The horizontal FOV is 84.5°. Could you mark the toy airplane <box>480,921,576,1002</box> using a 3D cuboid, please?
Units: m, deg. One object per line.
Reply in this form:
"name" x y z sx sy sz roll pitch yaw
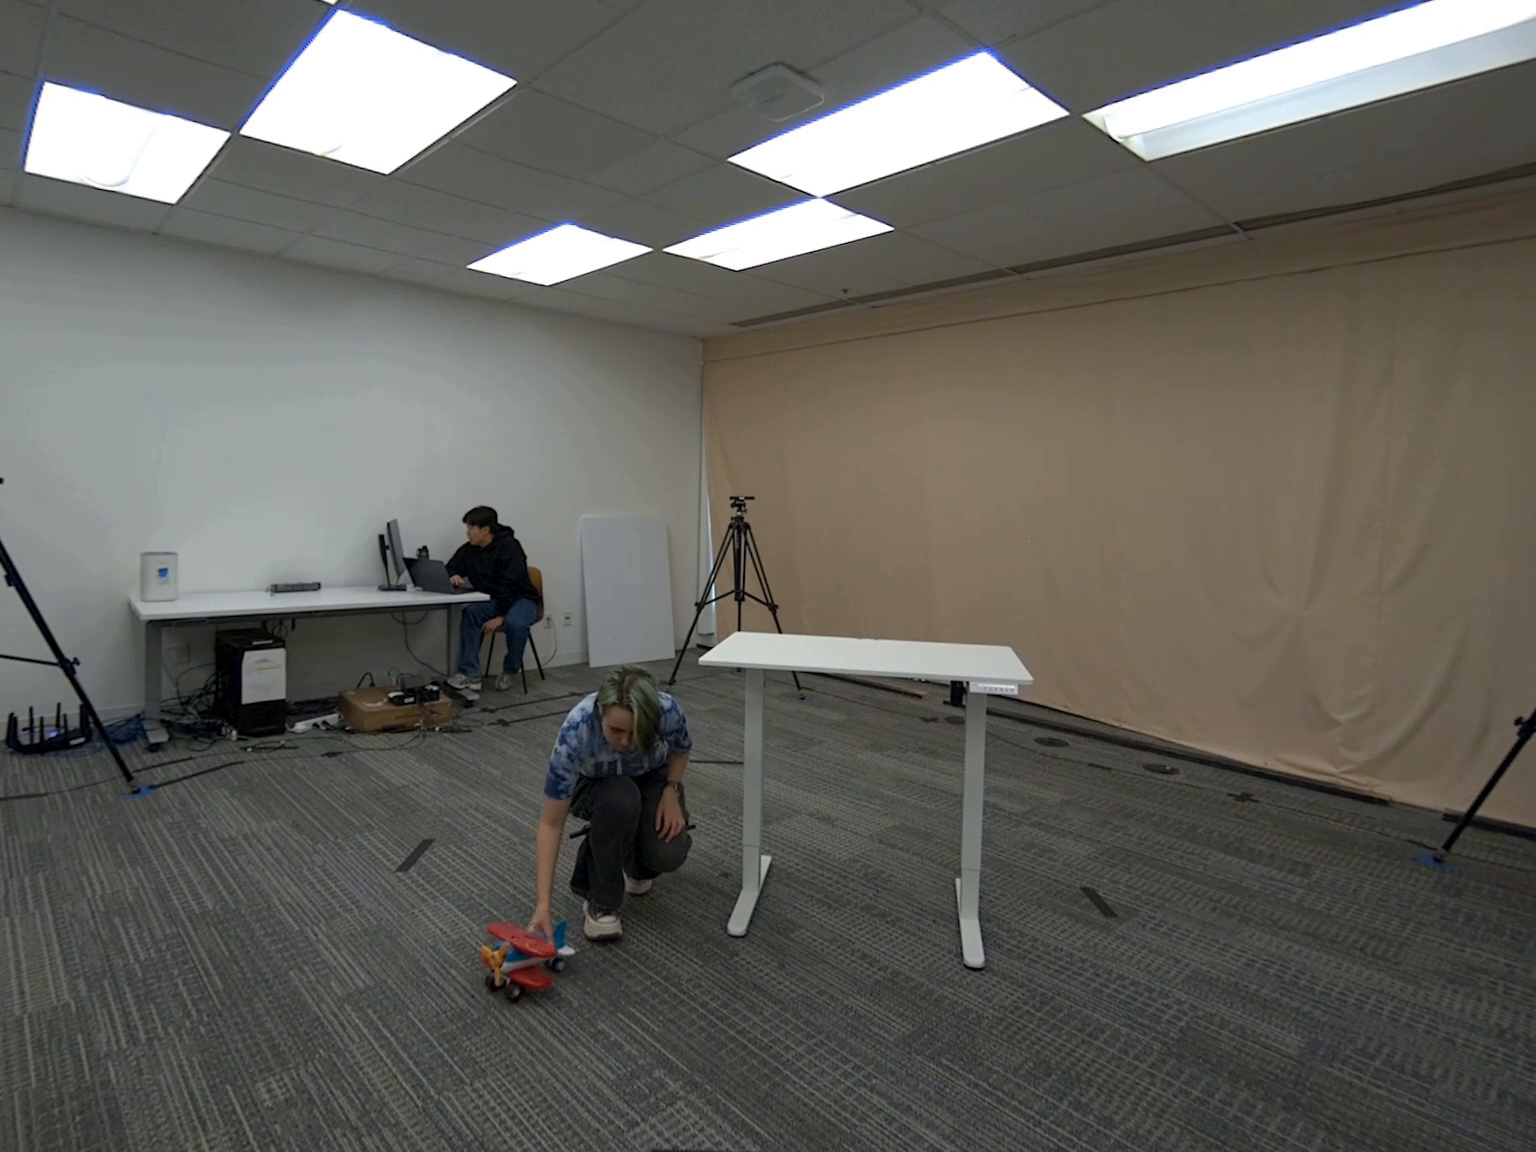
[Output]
"toy airplane" -0.707 1.089 2.400 0.253 0.156 0.258 1 5 9
